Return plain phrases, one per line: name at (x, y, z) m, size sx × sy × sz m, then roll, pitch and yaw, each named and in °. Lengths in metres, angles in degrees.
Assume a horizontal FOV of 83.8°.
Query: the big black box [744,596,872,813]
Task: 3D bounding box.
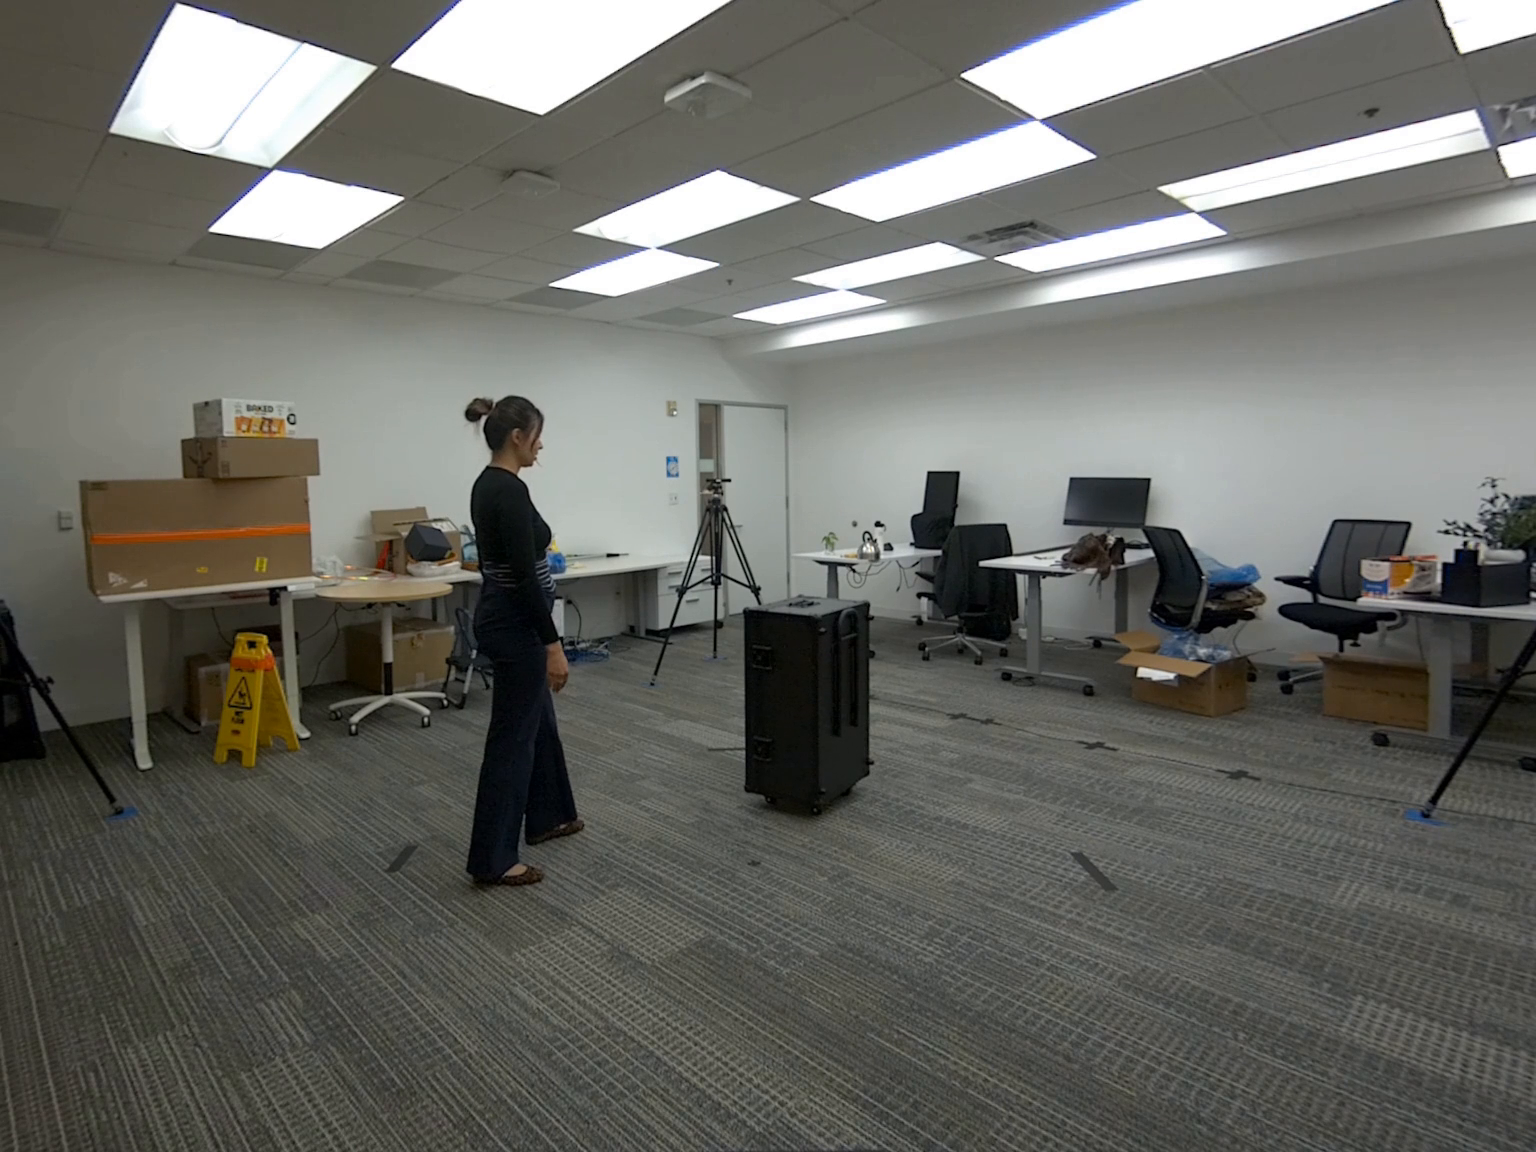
big black box at (0.188, 0.547, 3.698) m, size 0.407 × 0.858 × 0.508 m, roll 3°, pitch 5°, yaw 33°
